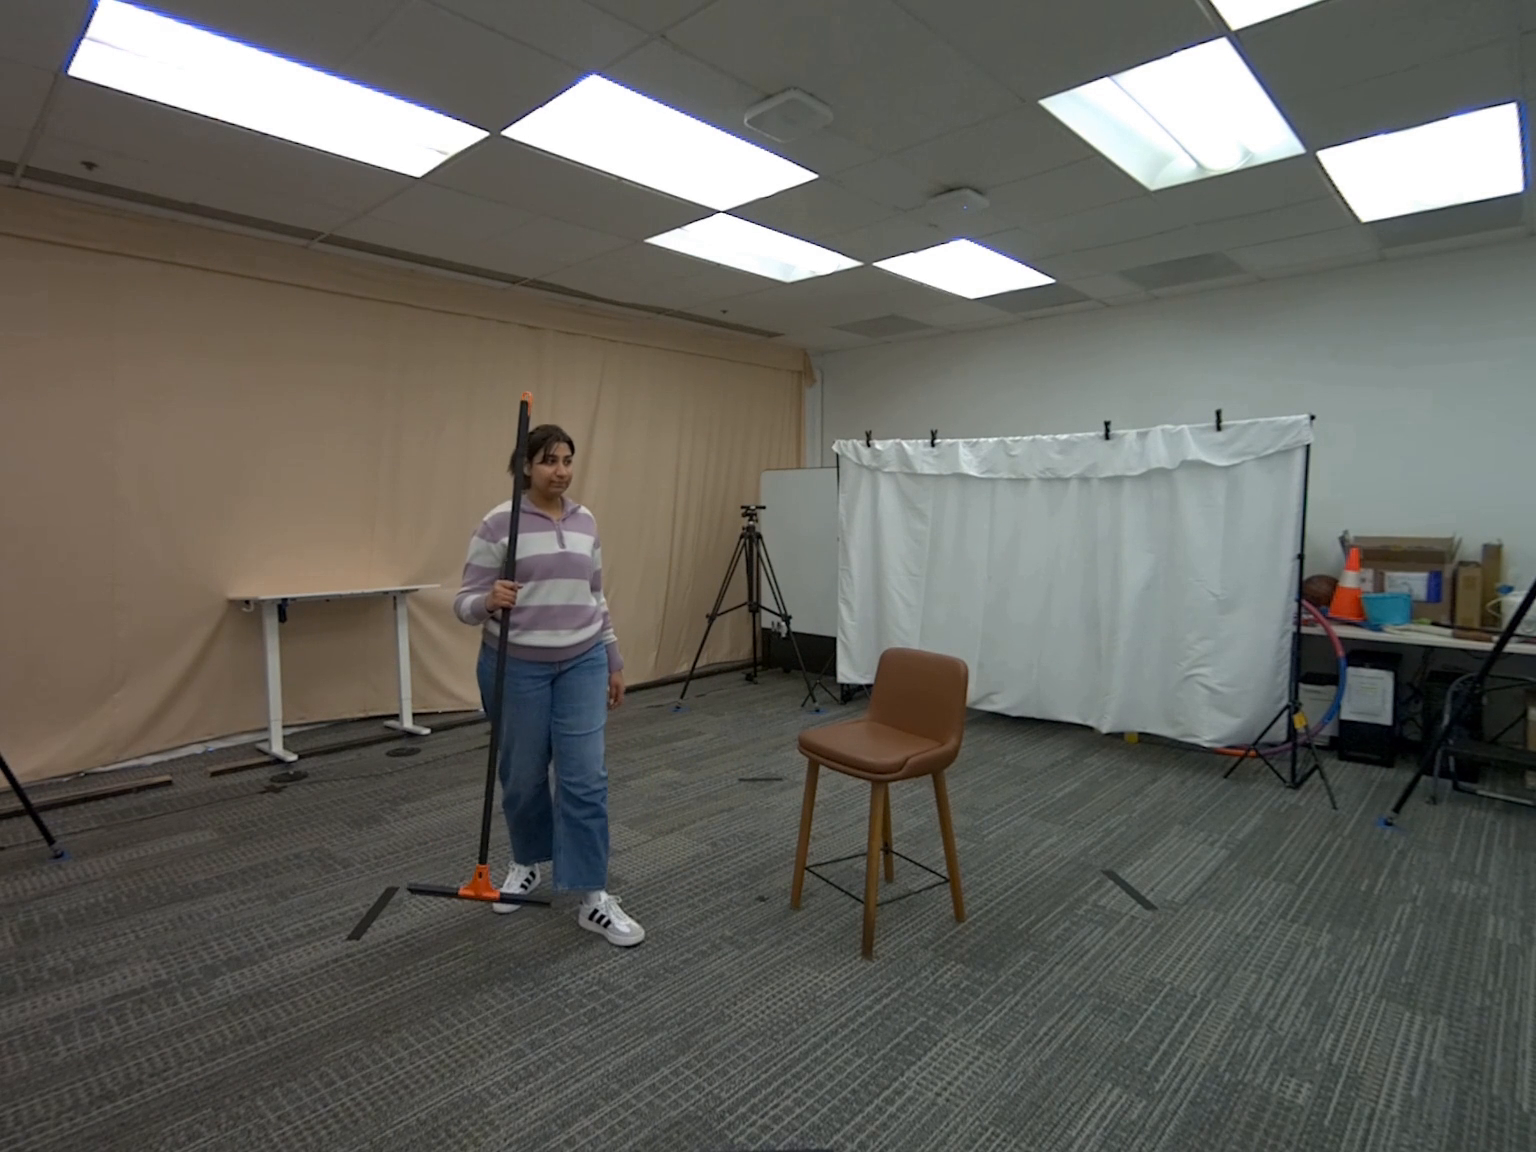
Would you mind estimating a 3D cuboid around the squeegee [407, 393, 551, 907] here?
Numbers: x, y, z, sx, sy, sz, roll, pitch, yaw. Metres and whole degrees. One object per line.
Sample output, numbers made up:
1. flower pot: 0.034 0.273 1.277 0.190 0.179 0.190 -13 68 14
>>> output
1. squeegee: -0.777 0.221 2.522 0.443 1.537 0.052 5 0 11
